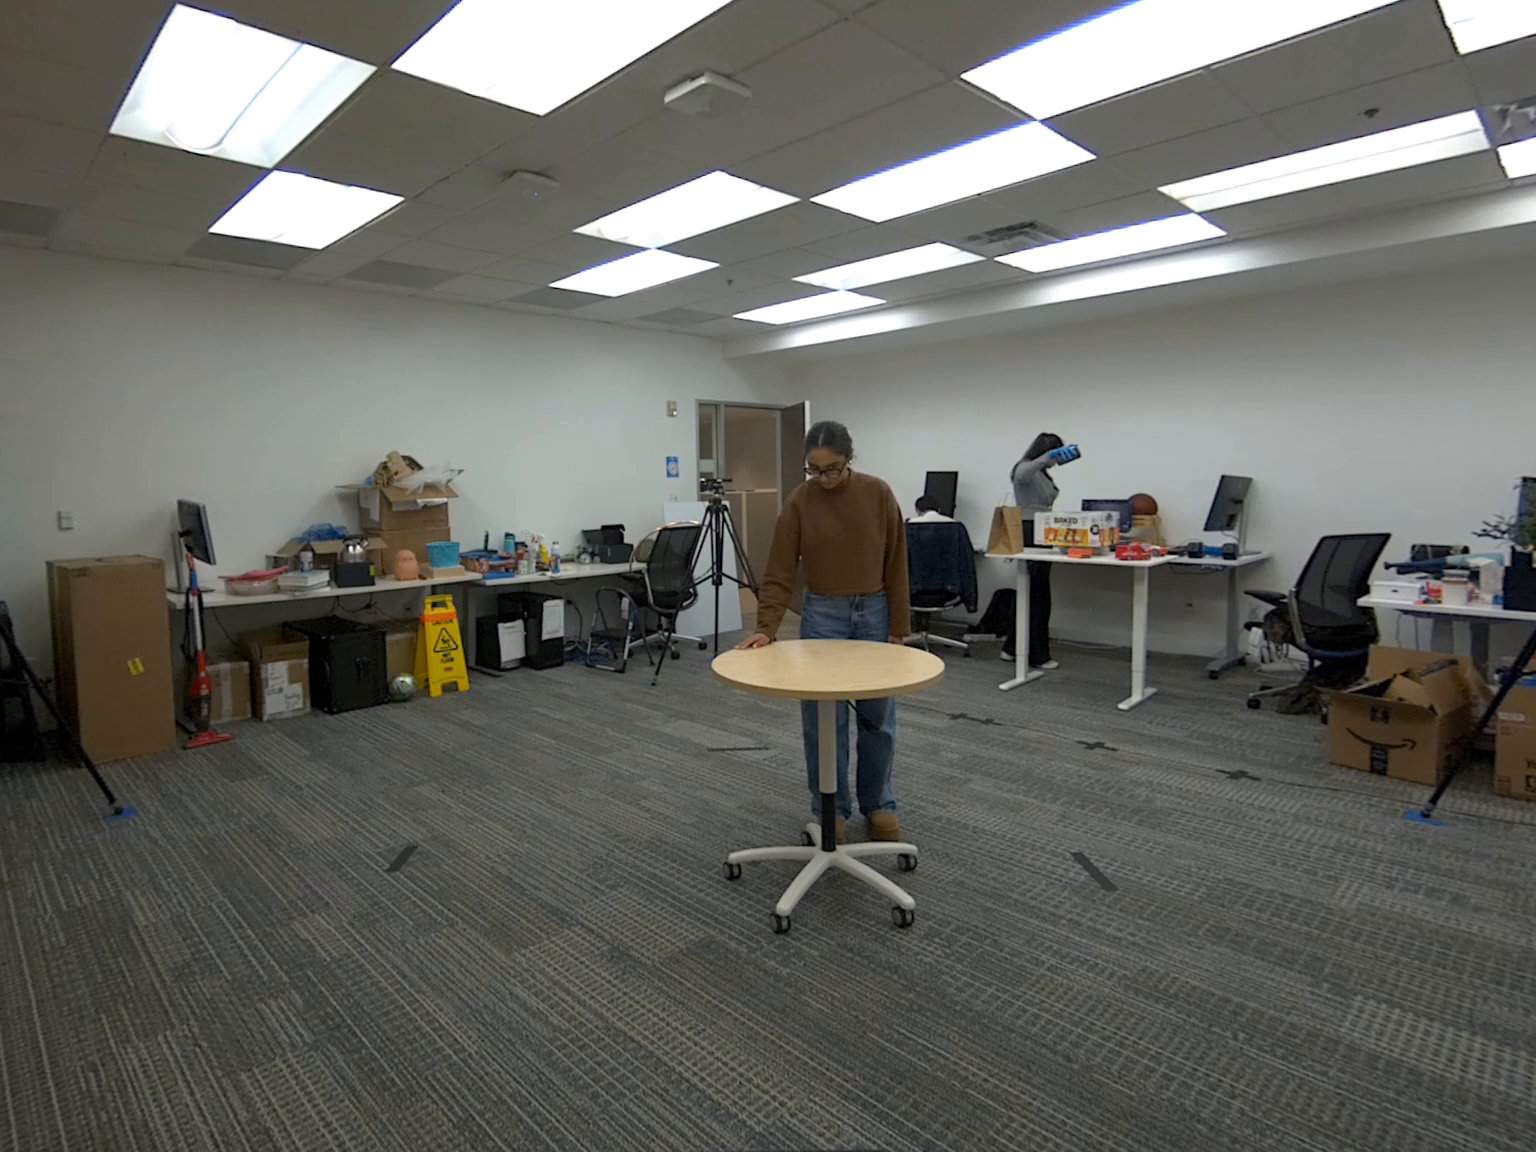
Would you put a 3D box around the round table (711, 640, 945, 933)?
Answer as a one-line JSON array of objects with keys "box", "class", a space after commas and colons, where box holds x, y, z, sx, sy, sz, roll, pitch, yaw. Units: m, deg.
[{"box": [0.205, 0.681, 2.870, 0.763, 0.790, 0.768, -1, 5, -2], "class": "round table"}]
